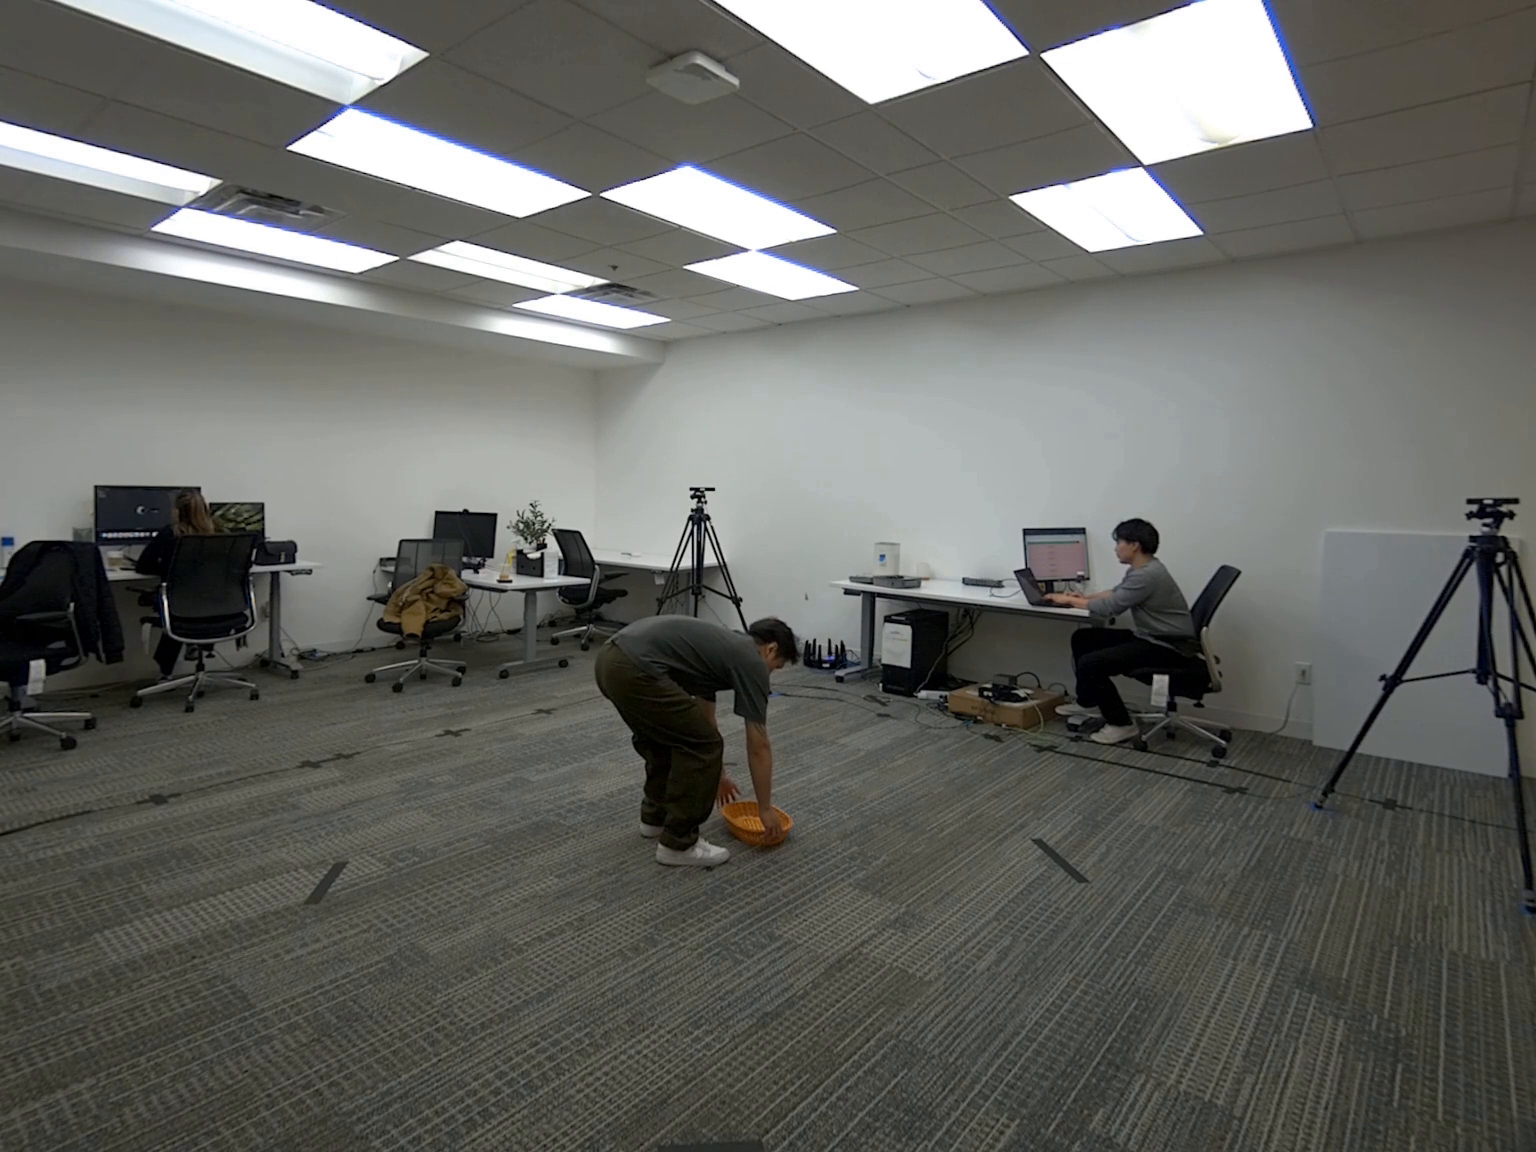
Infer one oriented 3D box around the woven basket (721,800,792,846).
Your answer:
[{"bbox_3d":[-0.055,0.997,3.450,0.246,0.073,0.361,-1,6,-28],"label":"woven basket"}]
